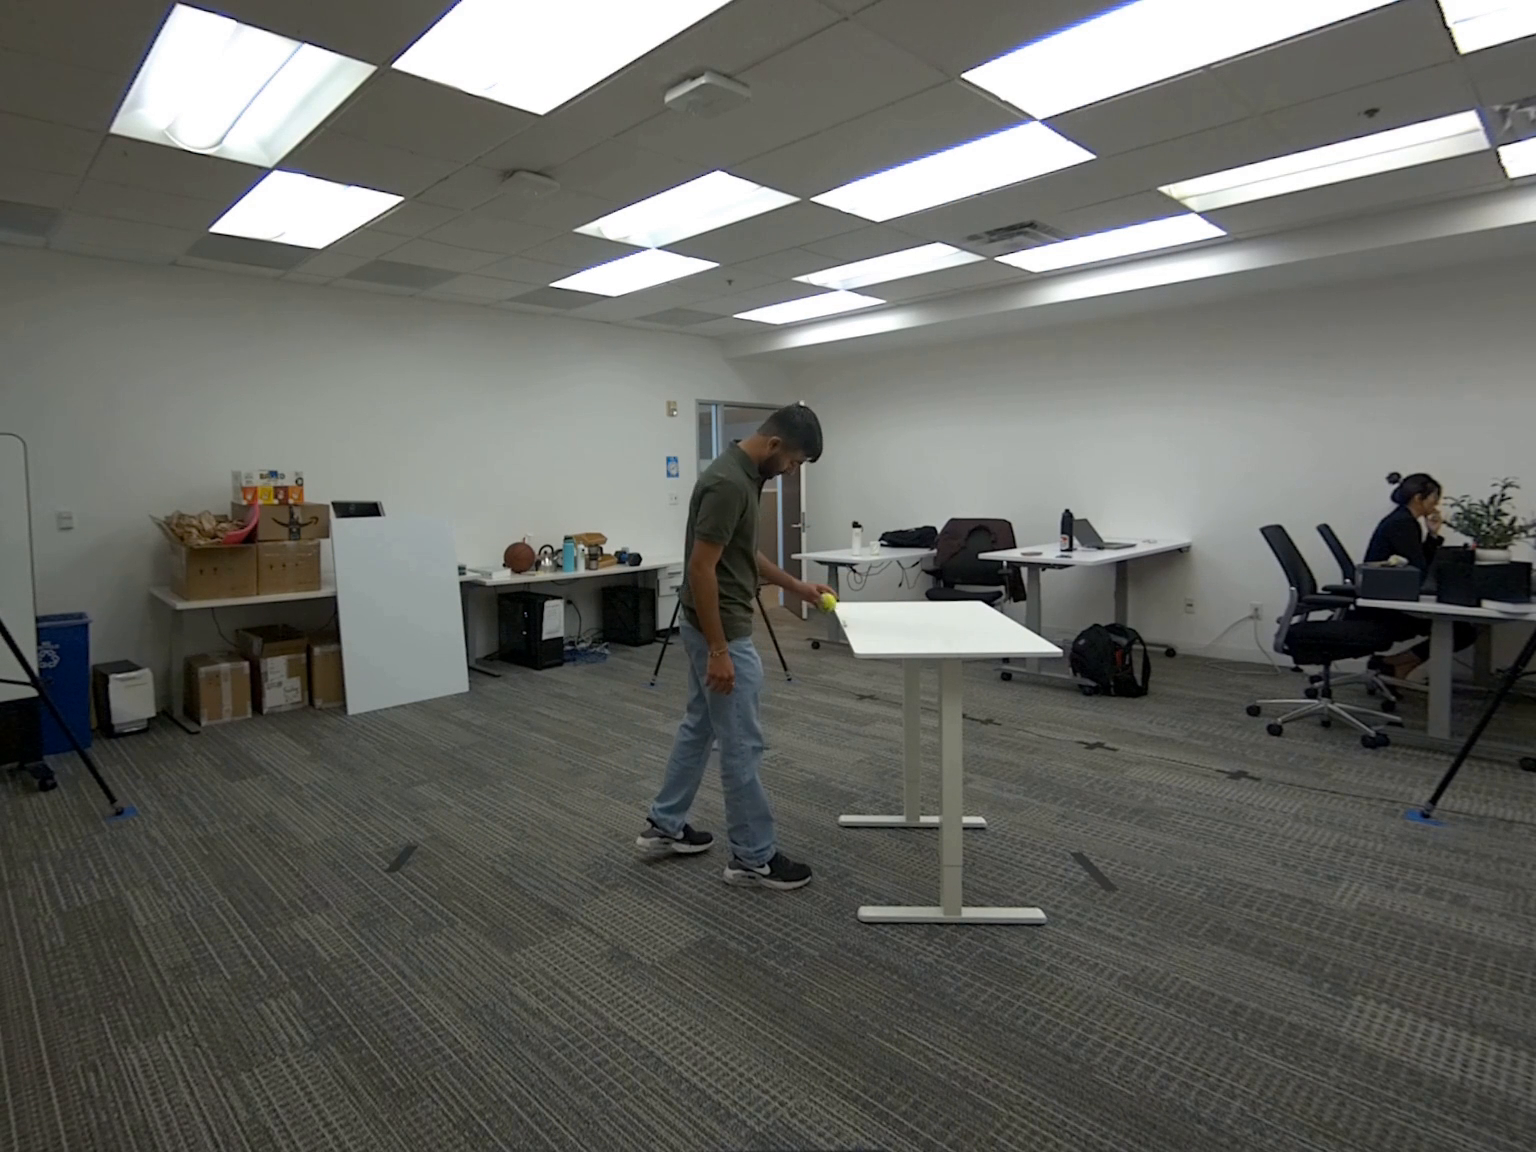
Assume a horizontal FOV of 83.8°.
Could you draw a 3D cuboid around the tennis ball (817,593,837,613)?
[{"bbox_3d":[0.216,0.098,3.098,0.066,0.066,0.067,-1,5,-2],"label":"tennis ball"}]
